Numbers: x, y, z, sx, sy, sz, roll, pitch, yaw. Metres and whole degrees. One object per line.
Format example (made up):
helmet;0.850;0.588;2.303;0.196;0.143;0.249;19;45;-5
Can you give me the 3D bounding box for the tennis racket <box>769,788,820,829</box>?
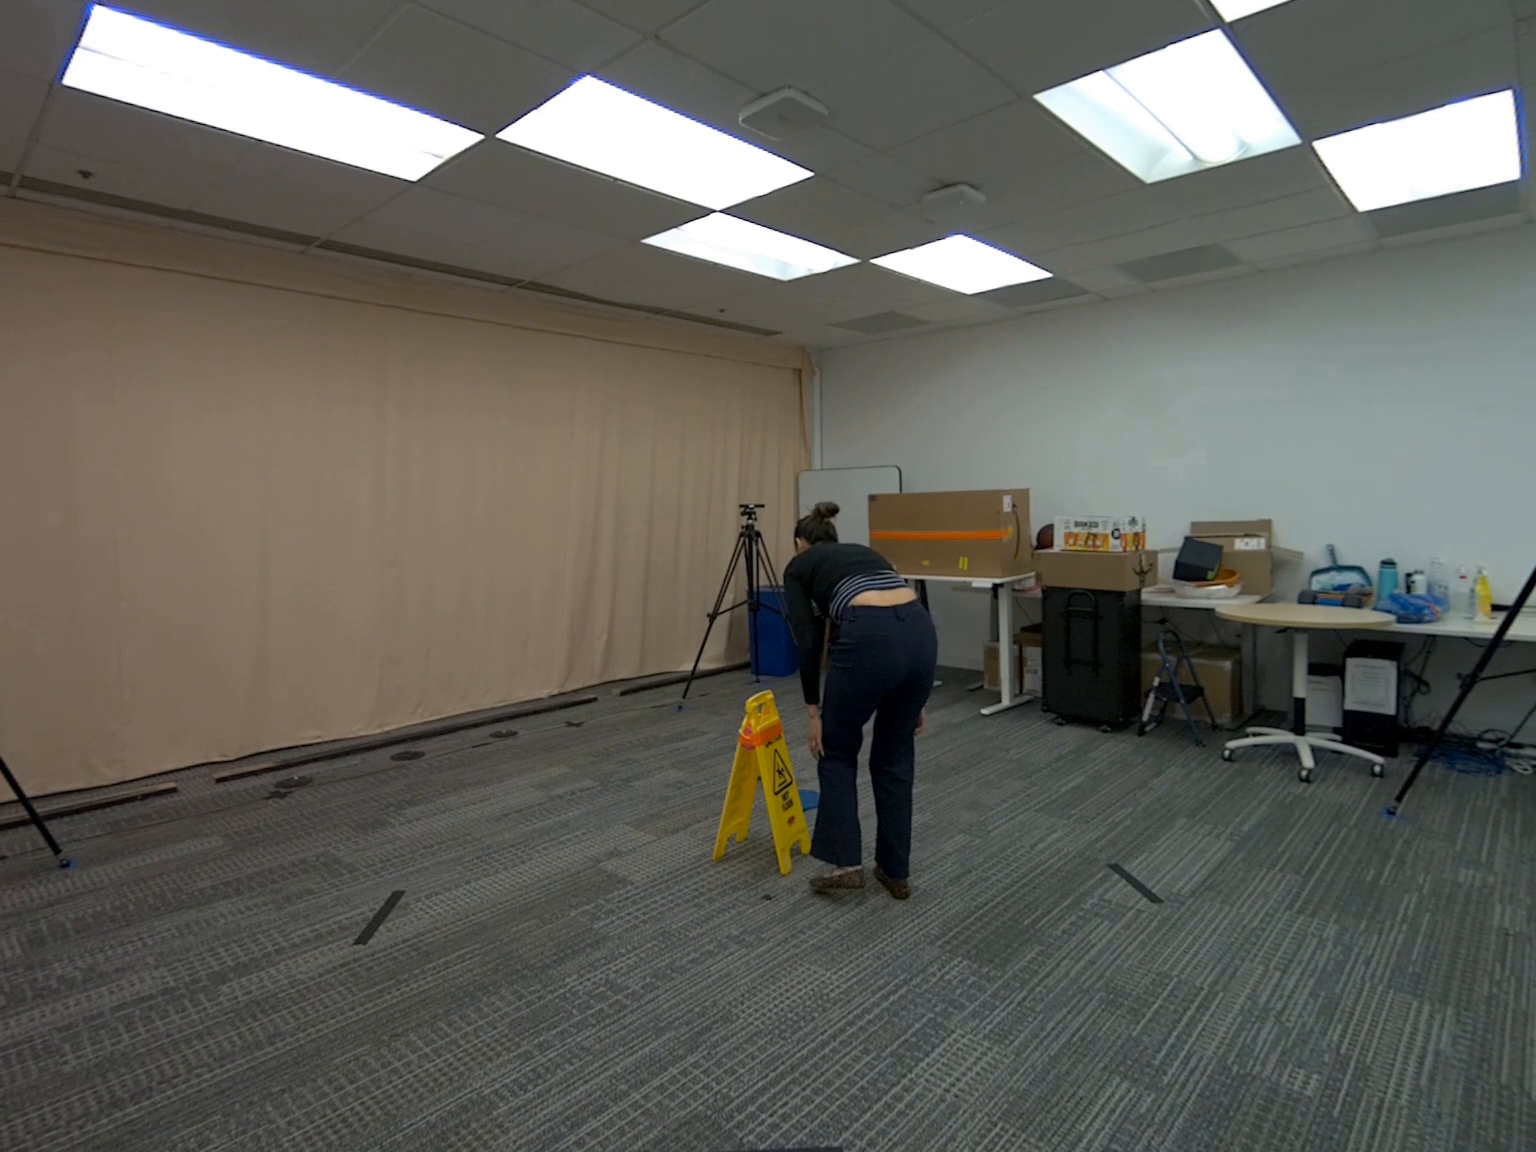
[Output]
tennis racket;0.142;1.054;3.873;0.216;0.032;0.429;-1;3;9
